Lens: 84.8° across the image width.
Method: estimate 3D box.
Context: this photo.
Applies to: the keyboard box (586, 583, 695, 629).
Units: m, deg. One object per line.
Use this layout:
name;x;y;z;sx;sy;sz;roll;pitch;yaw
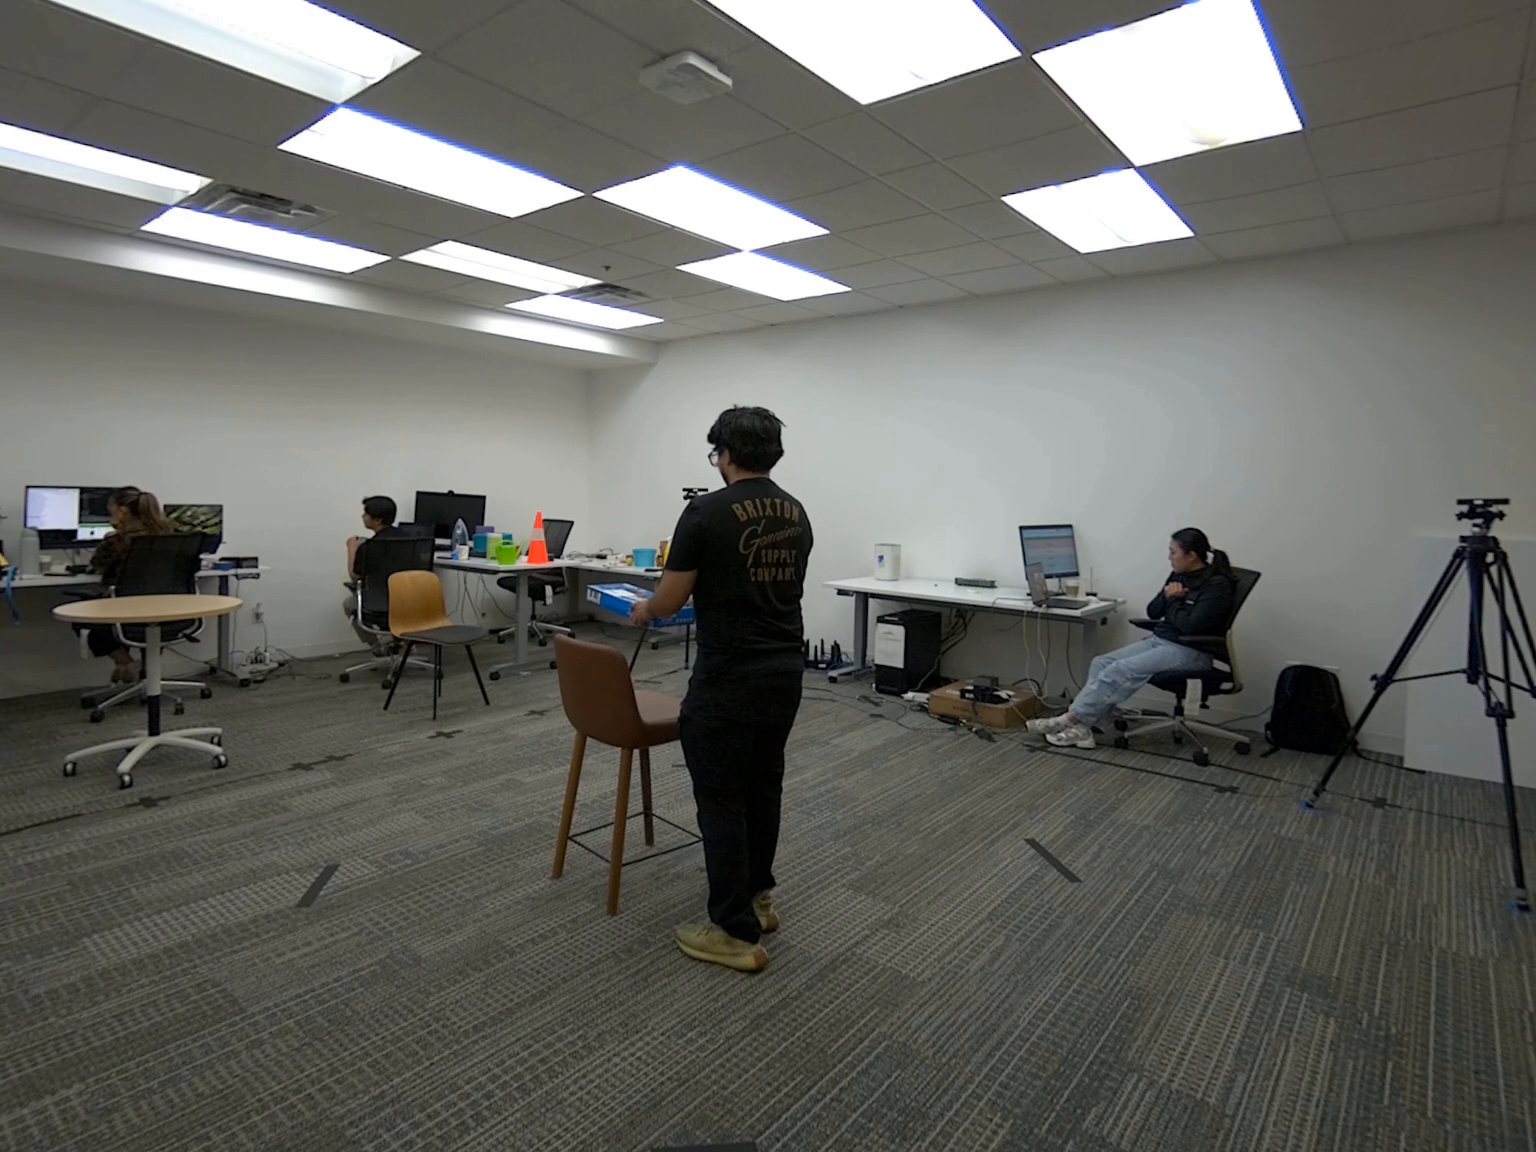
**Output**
keyboard box;-0.477;0.101;3.014;0.170;0.059;0.453;-3;13;-41
